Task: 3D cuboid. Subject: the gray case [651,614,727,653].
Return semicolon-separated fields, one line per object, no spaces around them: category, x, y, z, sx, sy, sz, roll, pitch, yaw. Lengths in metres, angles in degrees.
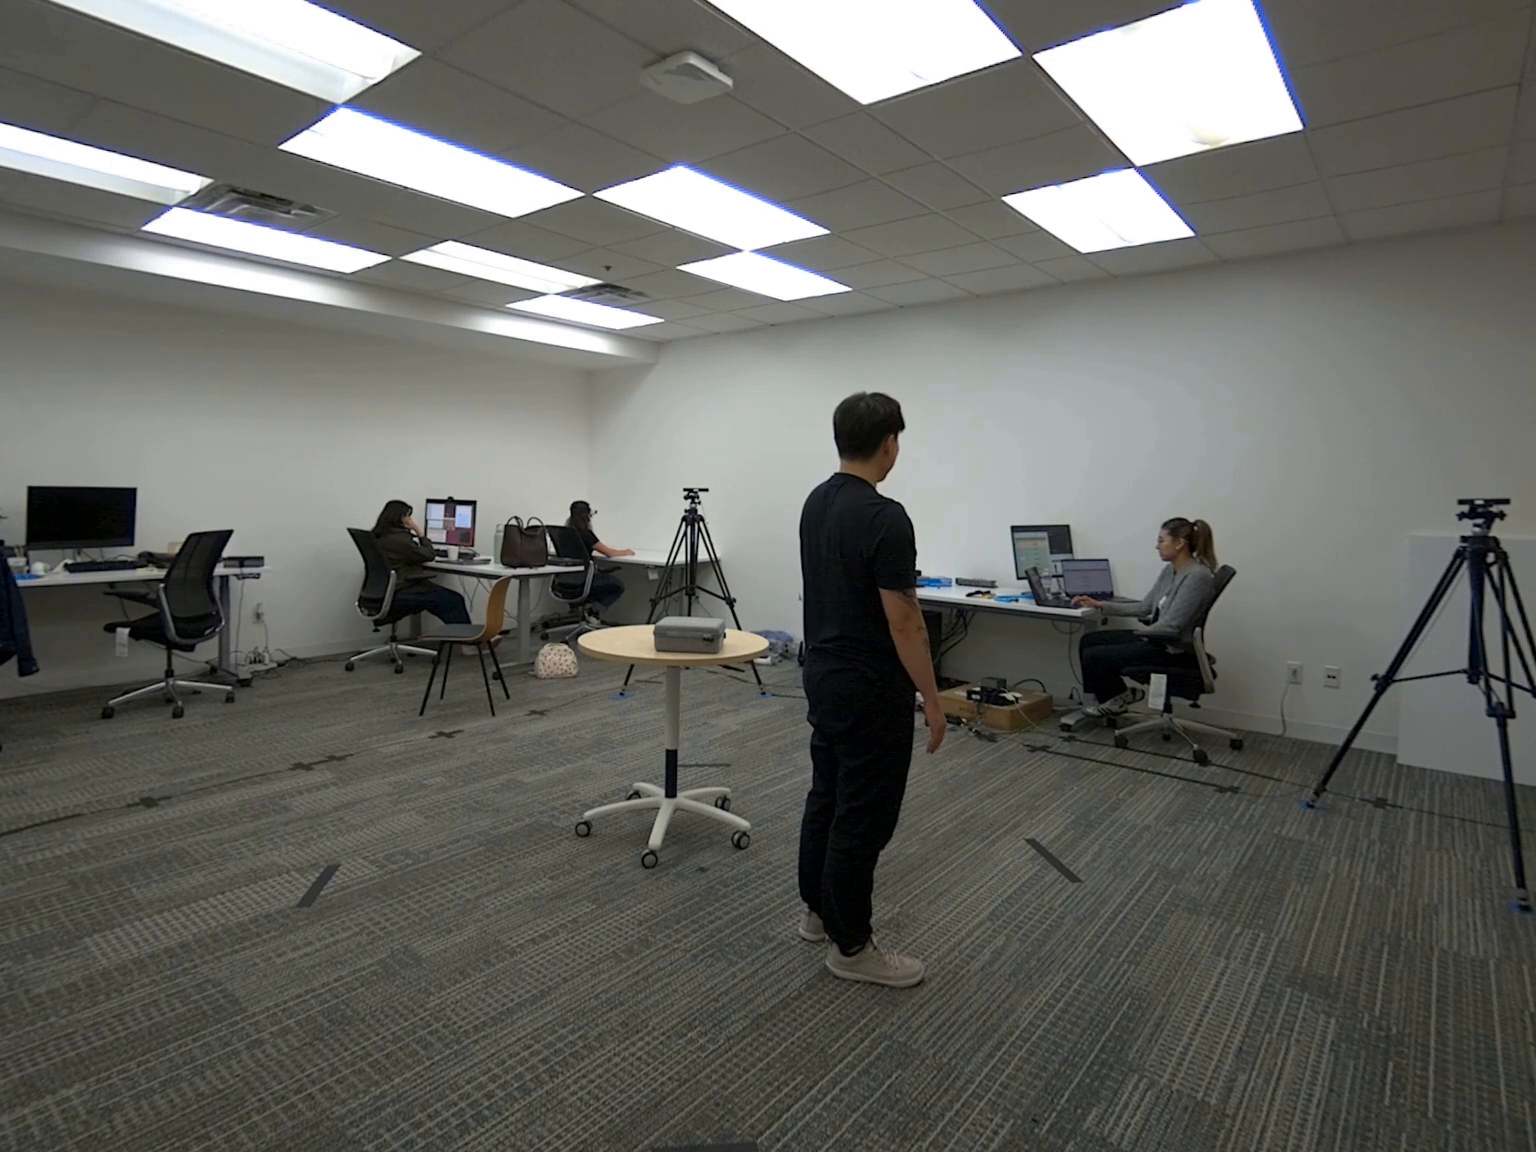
gray case;-0.306;0.218;3.275;0.258;0.104;0.260;1;4;5
